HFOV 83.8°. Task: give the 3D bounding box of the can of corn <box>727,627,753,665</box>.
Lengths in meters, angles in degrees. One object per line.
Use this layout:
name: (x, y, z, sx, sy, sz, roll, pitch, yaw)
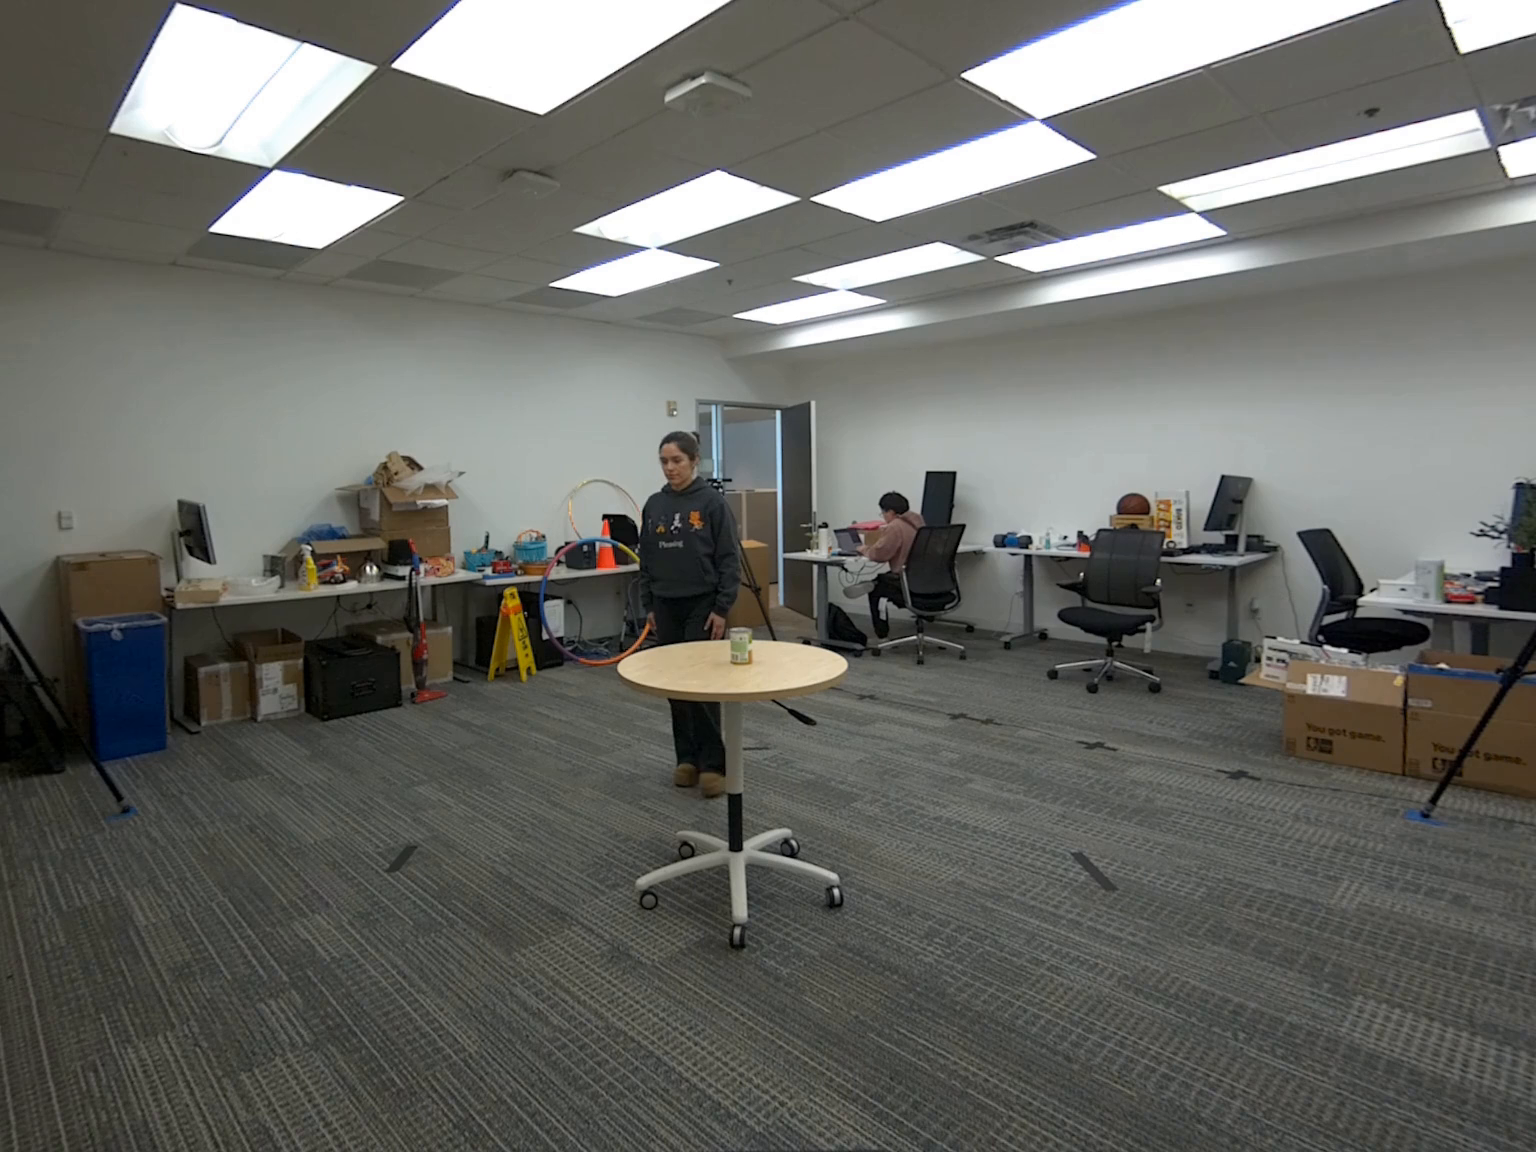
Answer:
can of corn: (-0.093, 0.237, 2.845, 0.074, 0.111, 0.074, -2, 4, -1)
